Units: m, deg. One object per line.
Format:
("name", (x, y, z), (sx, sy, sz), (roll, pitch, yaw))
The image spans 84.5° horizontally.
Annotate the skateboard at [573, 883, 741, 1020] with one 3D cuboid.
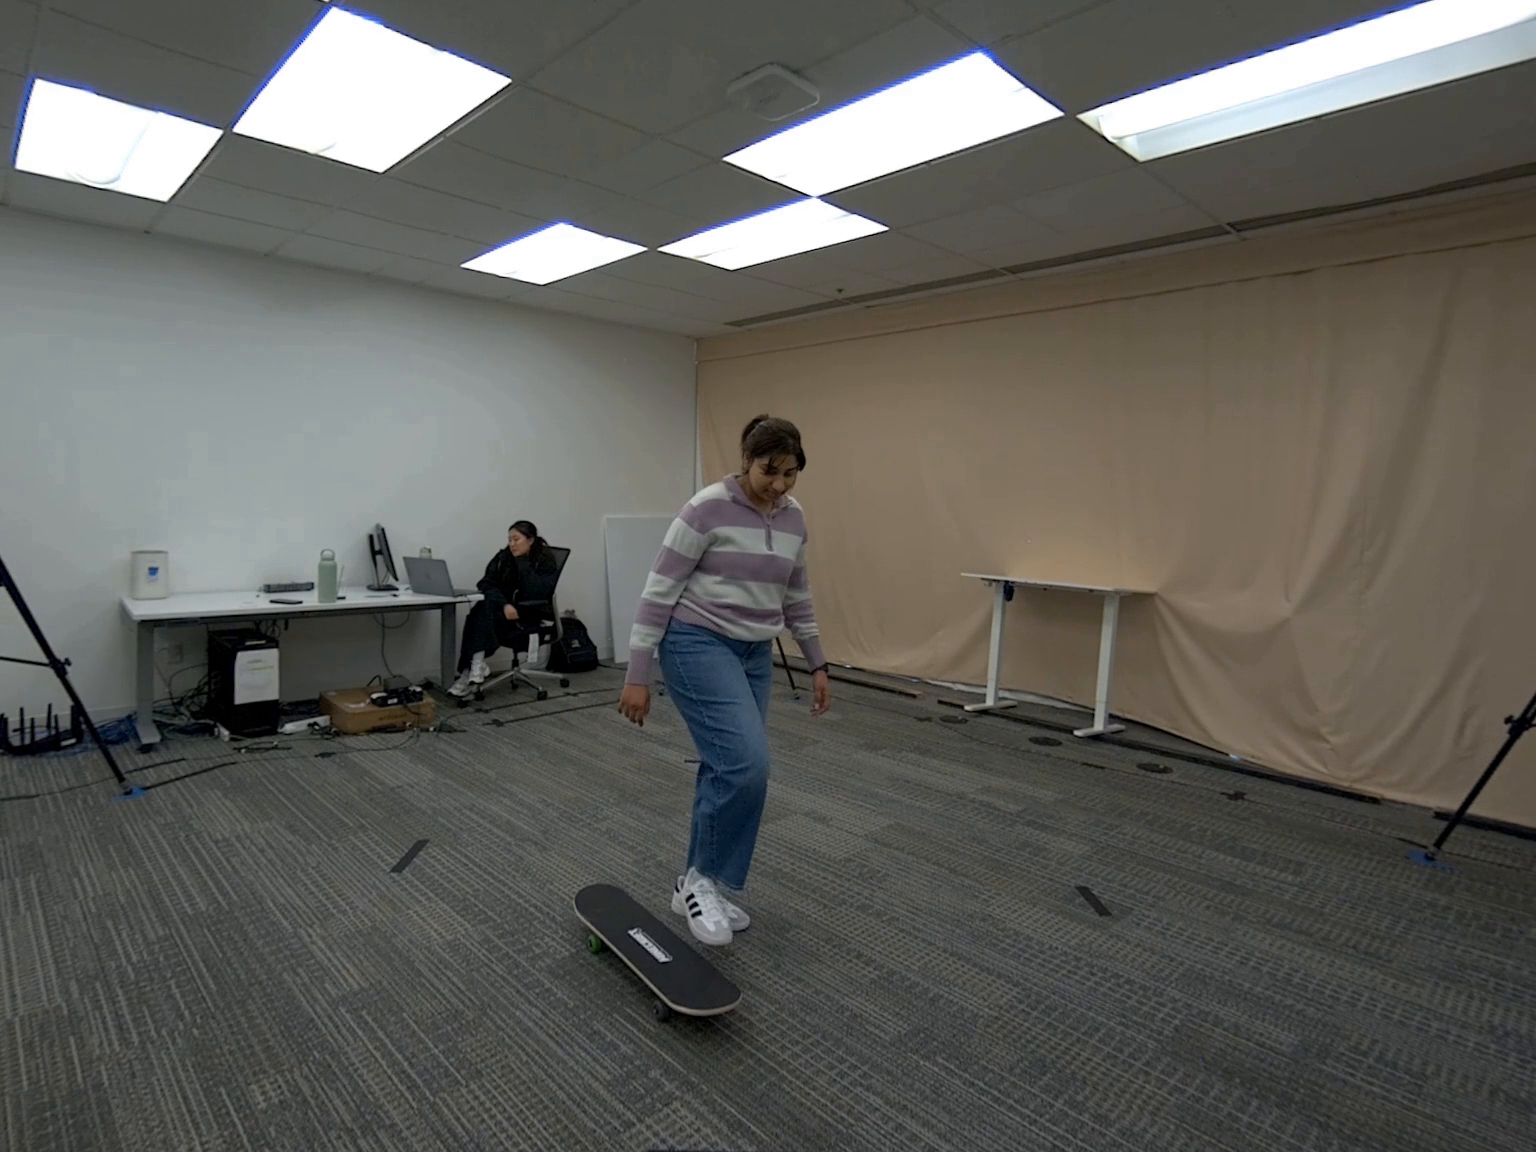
("skateboard", (-0.351, 1.102, 2.447), (0.189, 0.110, 0.805), (-2, 6, -37))
